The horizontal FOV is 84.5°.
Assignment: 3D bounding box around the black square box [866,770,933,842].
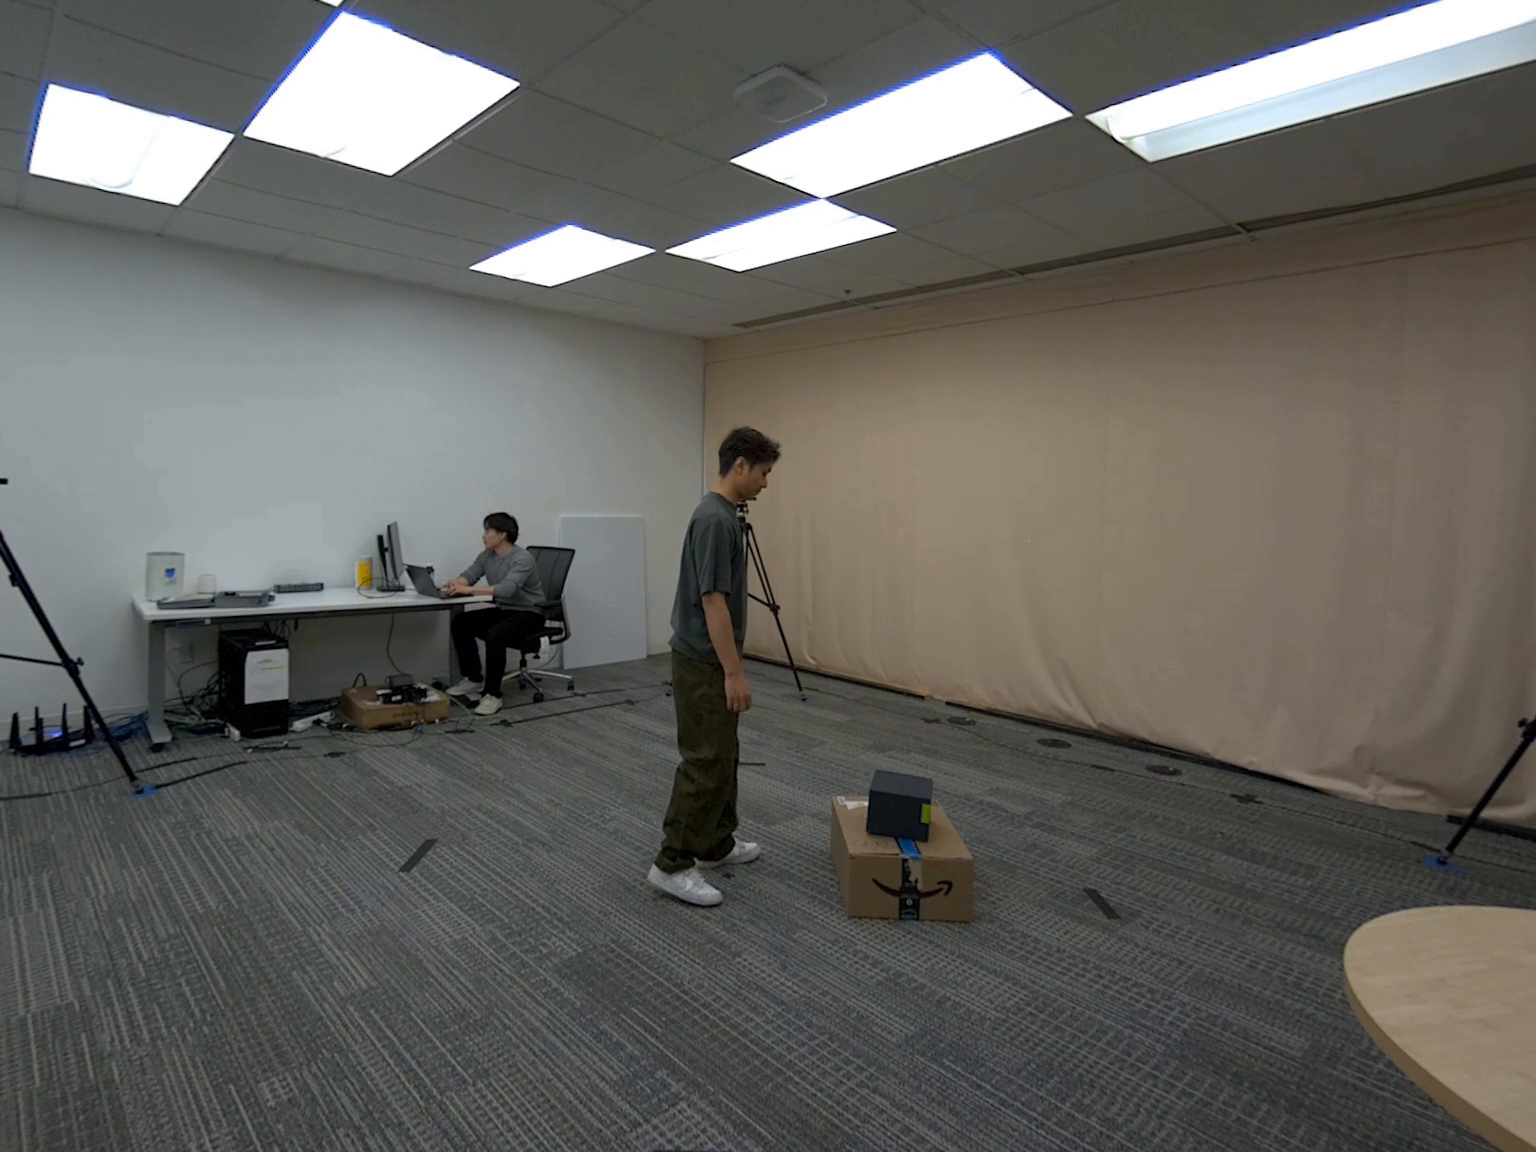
[{"bbox_3d":[0.471,0.824,3.049,0.219,0.155,0.226,5,5,12],"label":"black square box"}]
